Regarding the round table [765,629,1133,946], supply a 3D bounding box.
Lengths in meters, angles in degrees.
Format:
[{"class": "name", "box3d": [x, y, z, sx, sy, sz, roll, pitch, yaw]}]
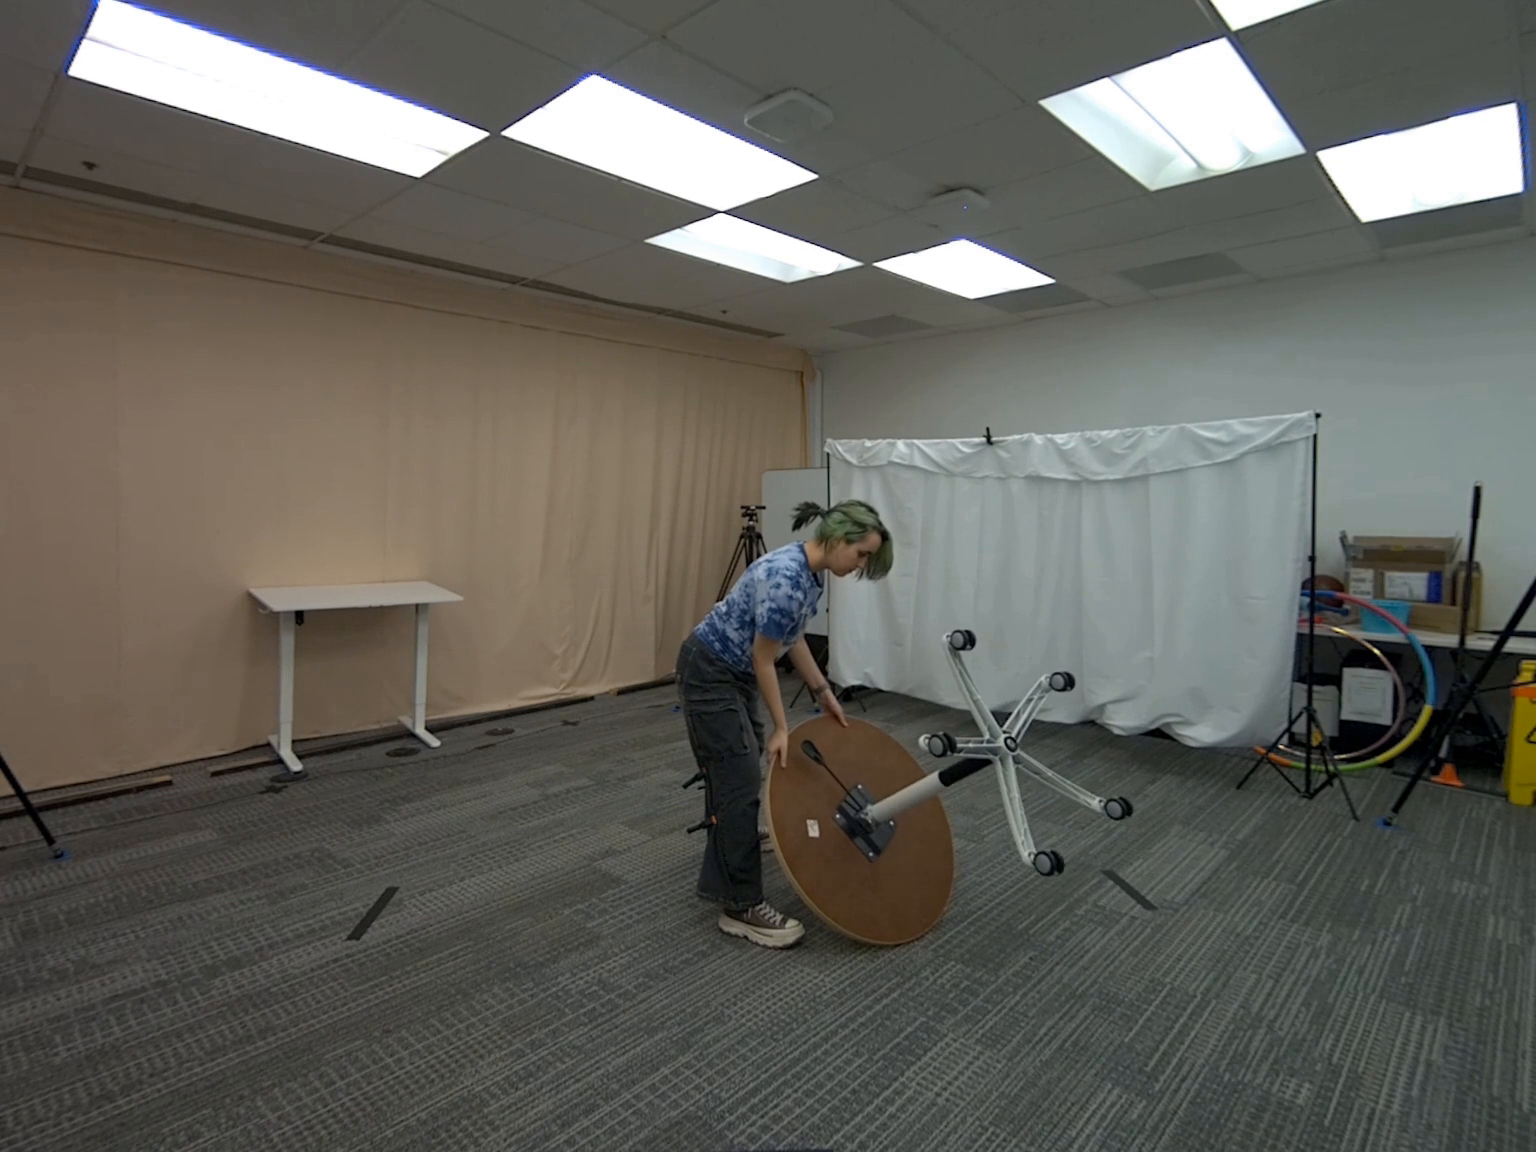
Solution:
[{"class": "round table", "box3d": [0.529, 0.644, 2.581, 0.741, 0.781, 0.800, -3, -30, -37]}]
